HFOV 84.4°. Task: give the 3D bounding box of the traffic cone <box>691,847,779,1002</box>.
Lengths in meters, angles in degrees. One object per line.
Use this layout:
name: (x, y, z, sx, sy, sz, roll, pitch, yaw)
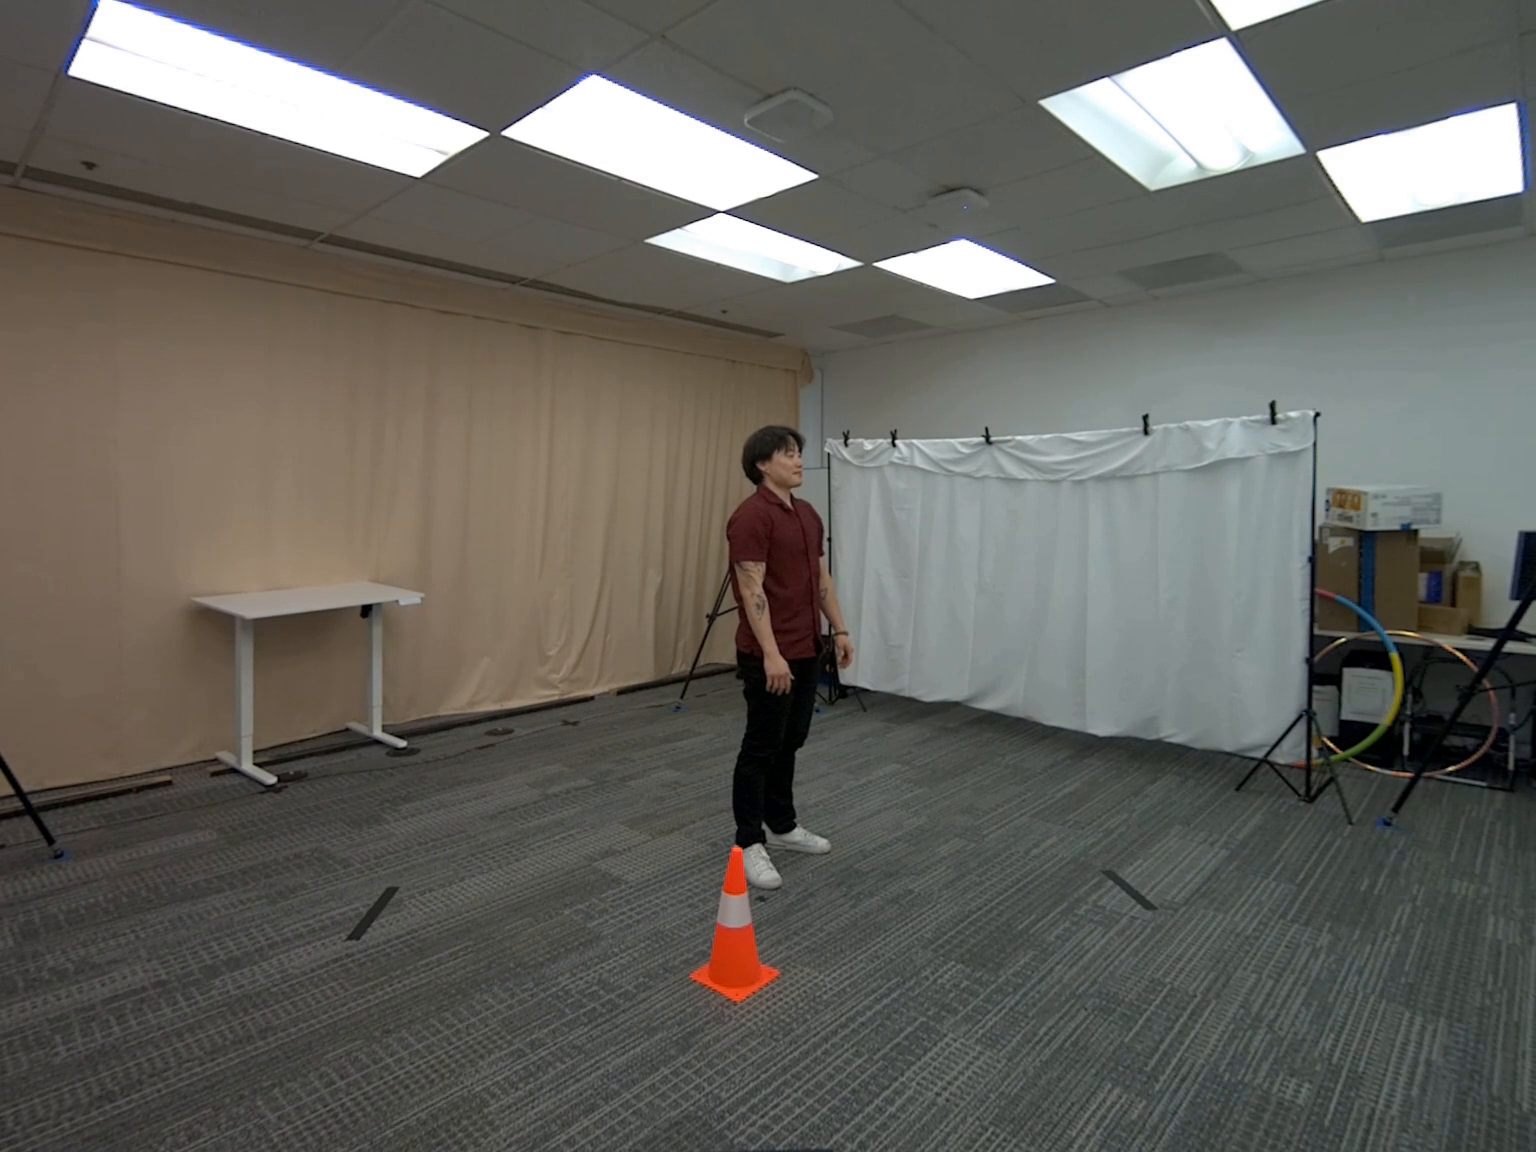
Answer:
traffic cone: (-0.099, 0.997, 2.489, 0.197, 0.383, 0.211, -2, 4, -36)
